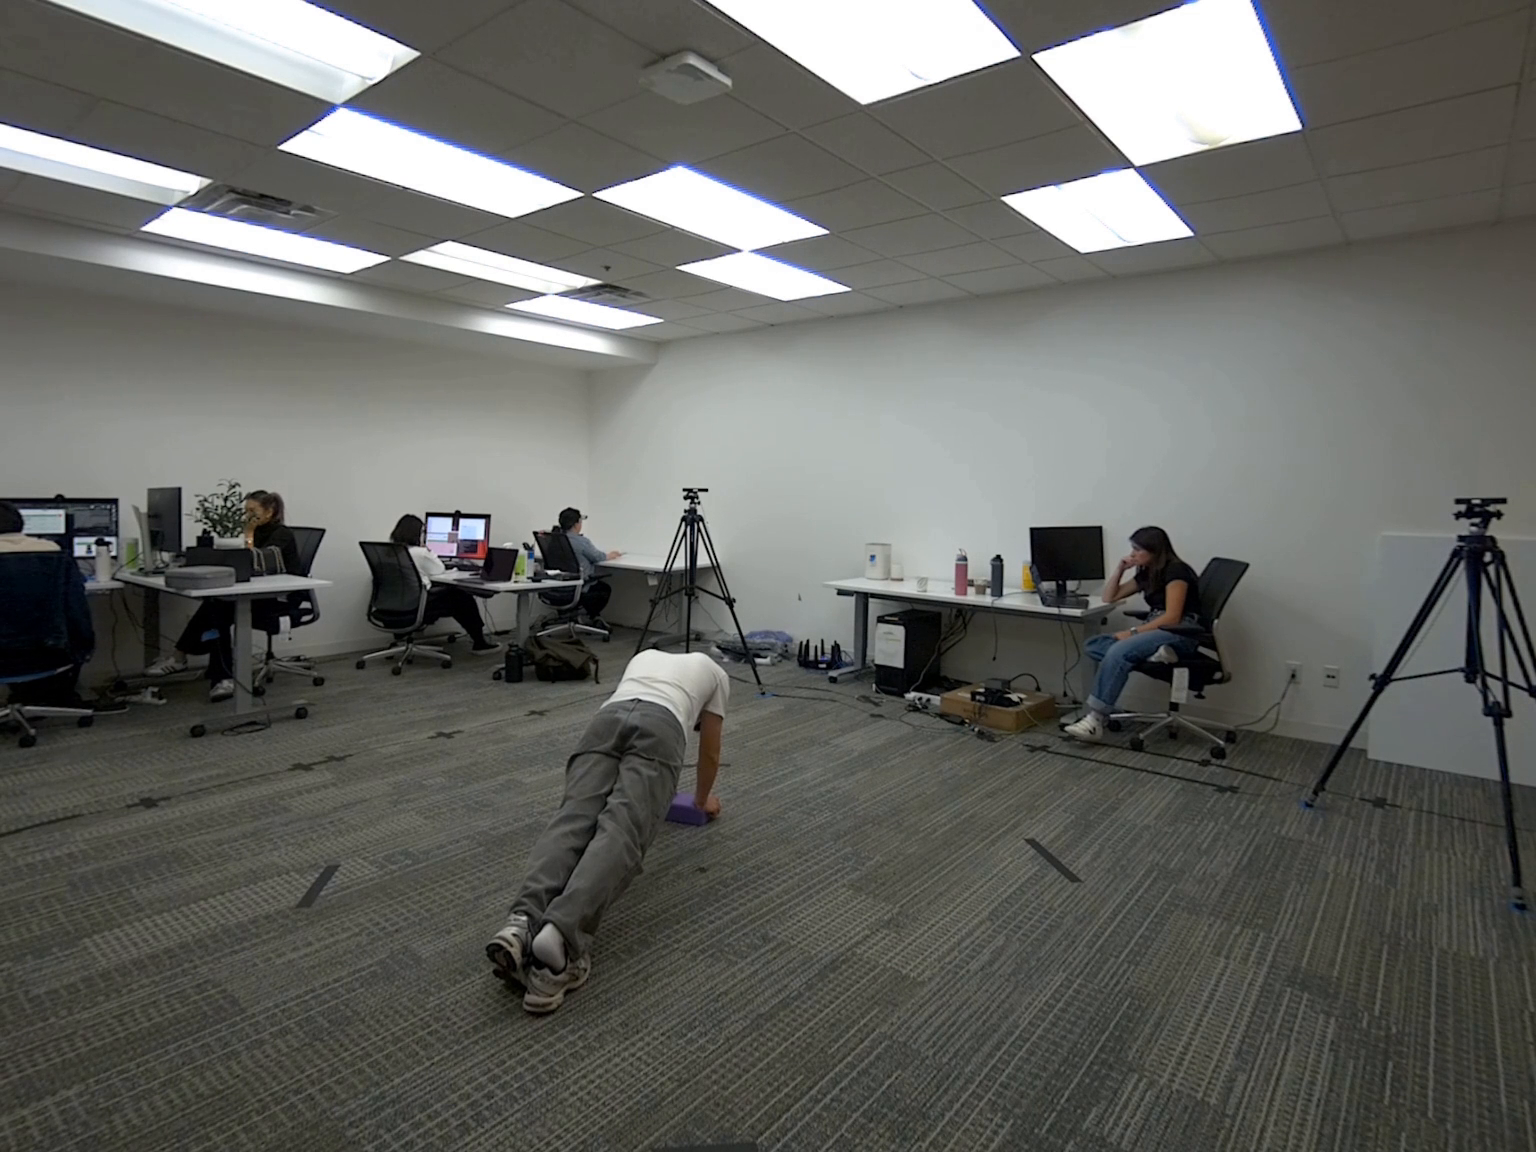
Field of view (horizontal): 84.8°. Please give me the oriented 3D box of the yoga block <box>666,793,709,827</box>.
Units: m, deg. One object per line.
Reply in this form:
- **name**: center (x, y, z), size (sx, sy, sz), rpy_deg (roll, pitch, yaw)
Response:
- **yoga block**: center (-0.353, 0.981, 3.616), size (0.234, 0.076, 0.146), rpy_deg (2, 4, 21)
